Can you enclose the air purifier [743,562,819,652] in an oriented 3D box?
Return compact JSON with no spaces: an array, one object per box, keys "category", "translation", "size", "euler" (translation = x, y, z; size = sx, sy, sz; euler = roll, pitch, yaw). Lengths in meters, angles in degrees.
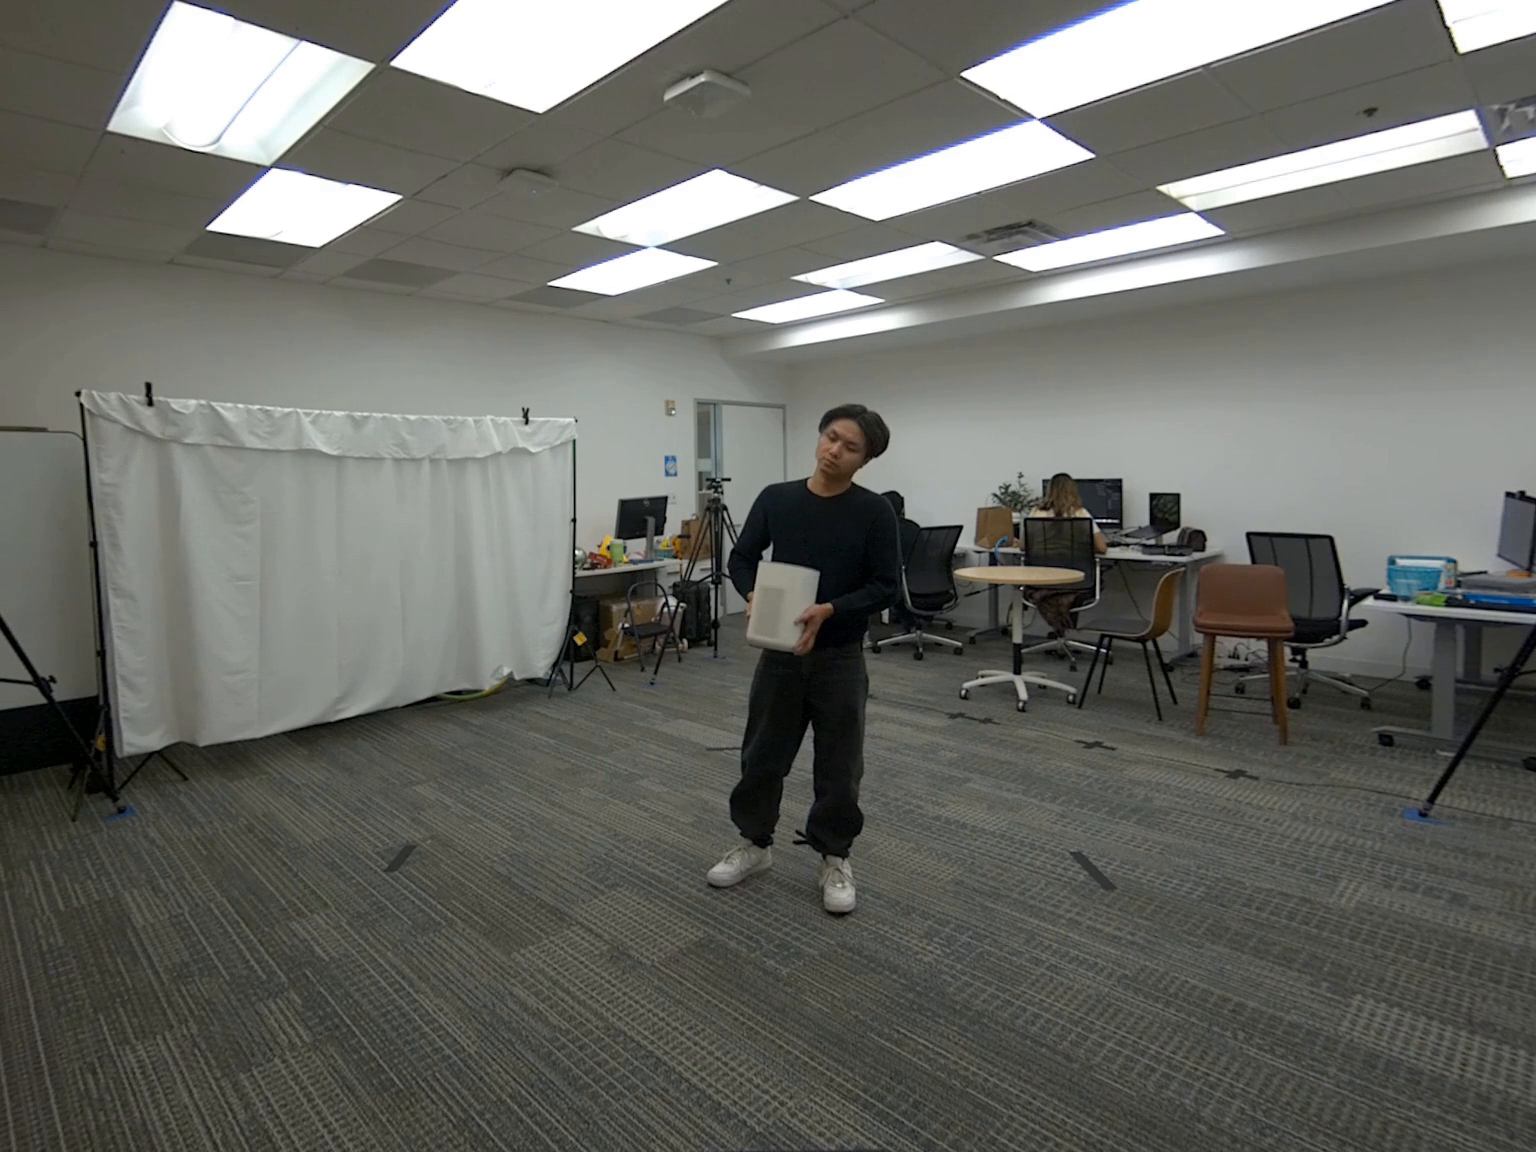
[{"category":"air purifier","translation":[0.054,0.106,2.689],"size":[0.175,0.266,0.166],"euler":[8,-5,22]}]
